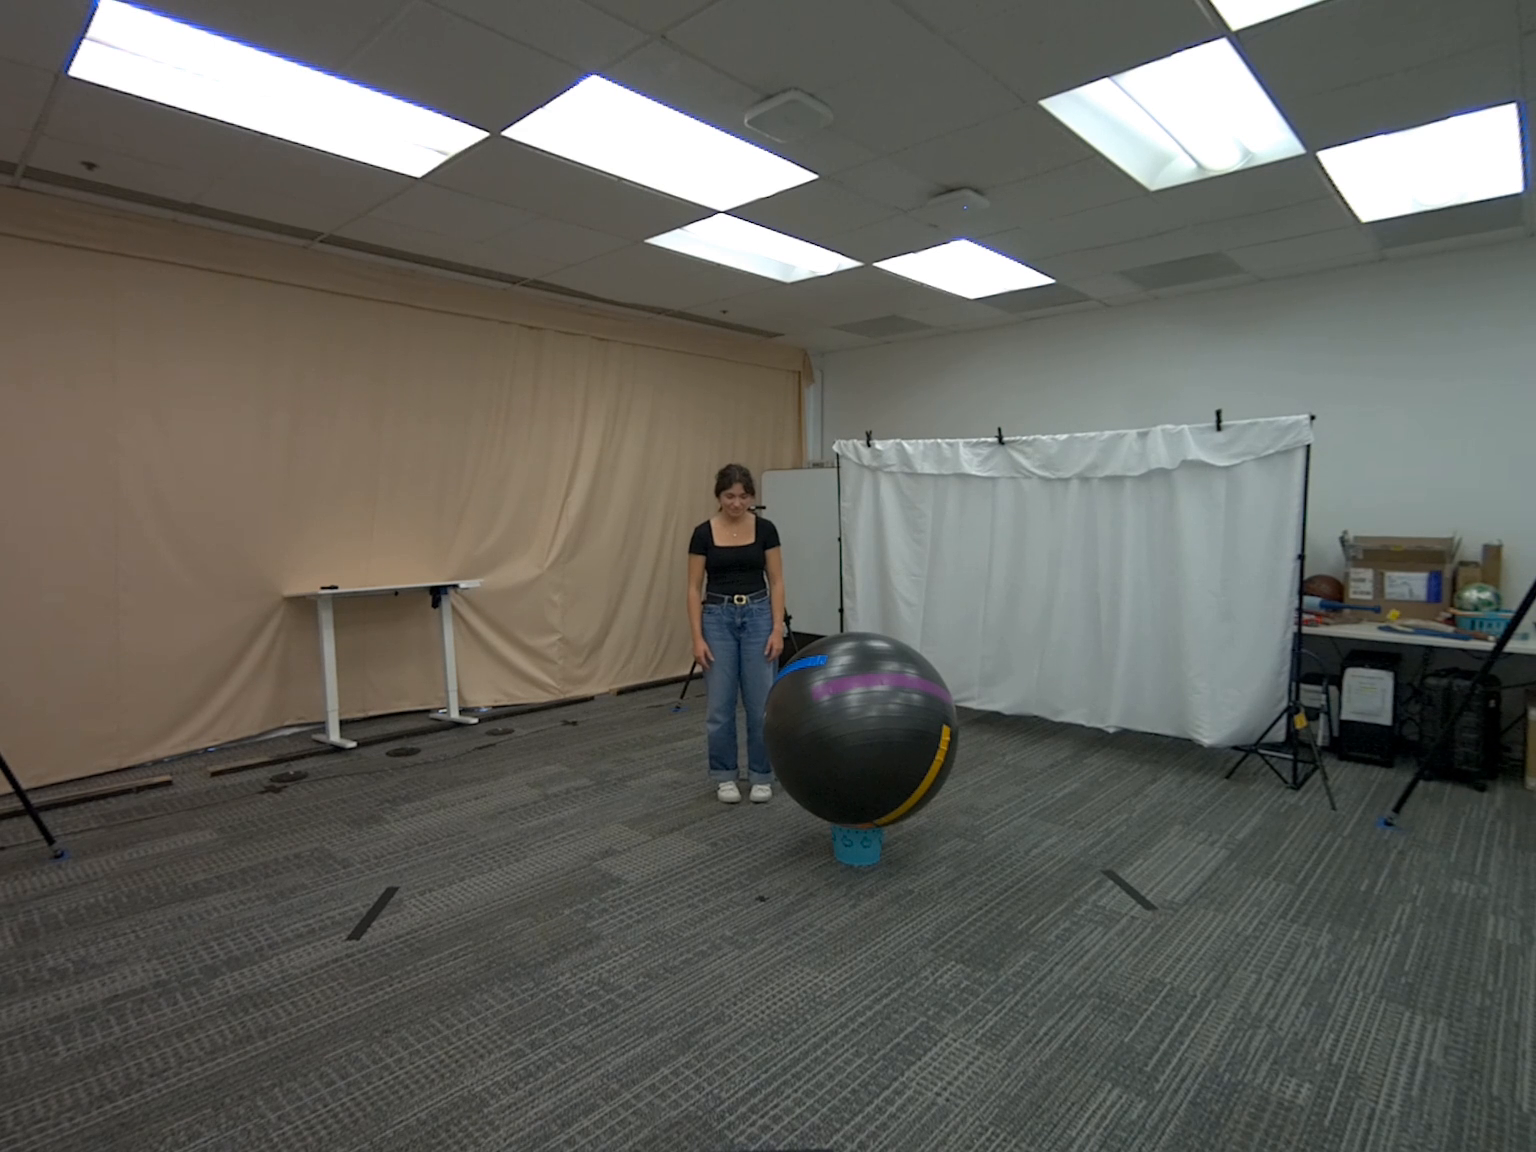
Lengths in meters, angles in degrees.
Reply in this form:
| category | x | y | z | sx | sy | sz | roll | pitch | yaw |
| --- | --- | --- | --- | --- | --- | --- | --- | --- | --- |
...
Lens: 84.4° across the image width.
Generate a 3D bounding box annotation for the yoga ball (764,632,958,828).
| category | x | y | z | sx | sy | sz | roll | pitch | yaw |
| --- | --- | --- | --- | --- | --- | --- | --- | --- | --- |
| yoga ball | 0.368 | 0.607 | 3.344 | 0.757 | 0.756 | 0.760 | 0 | 4 | -2 |
